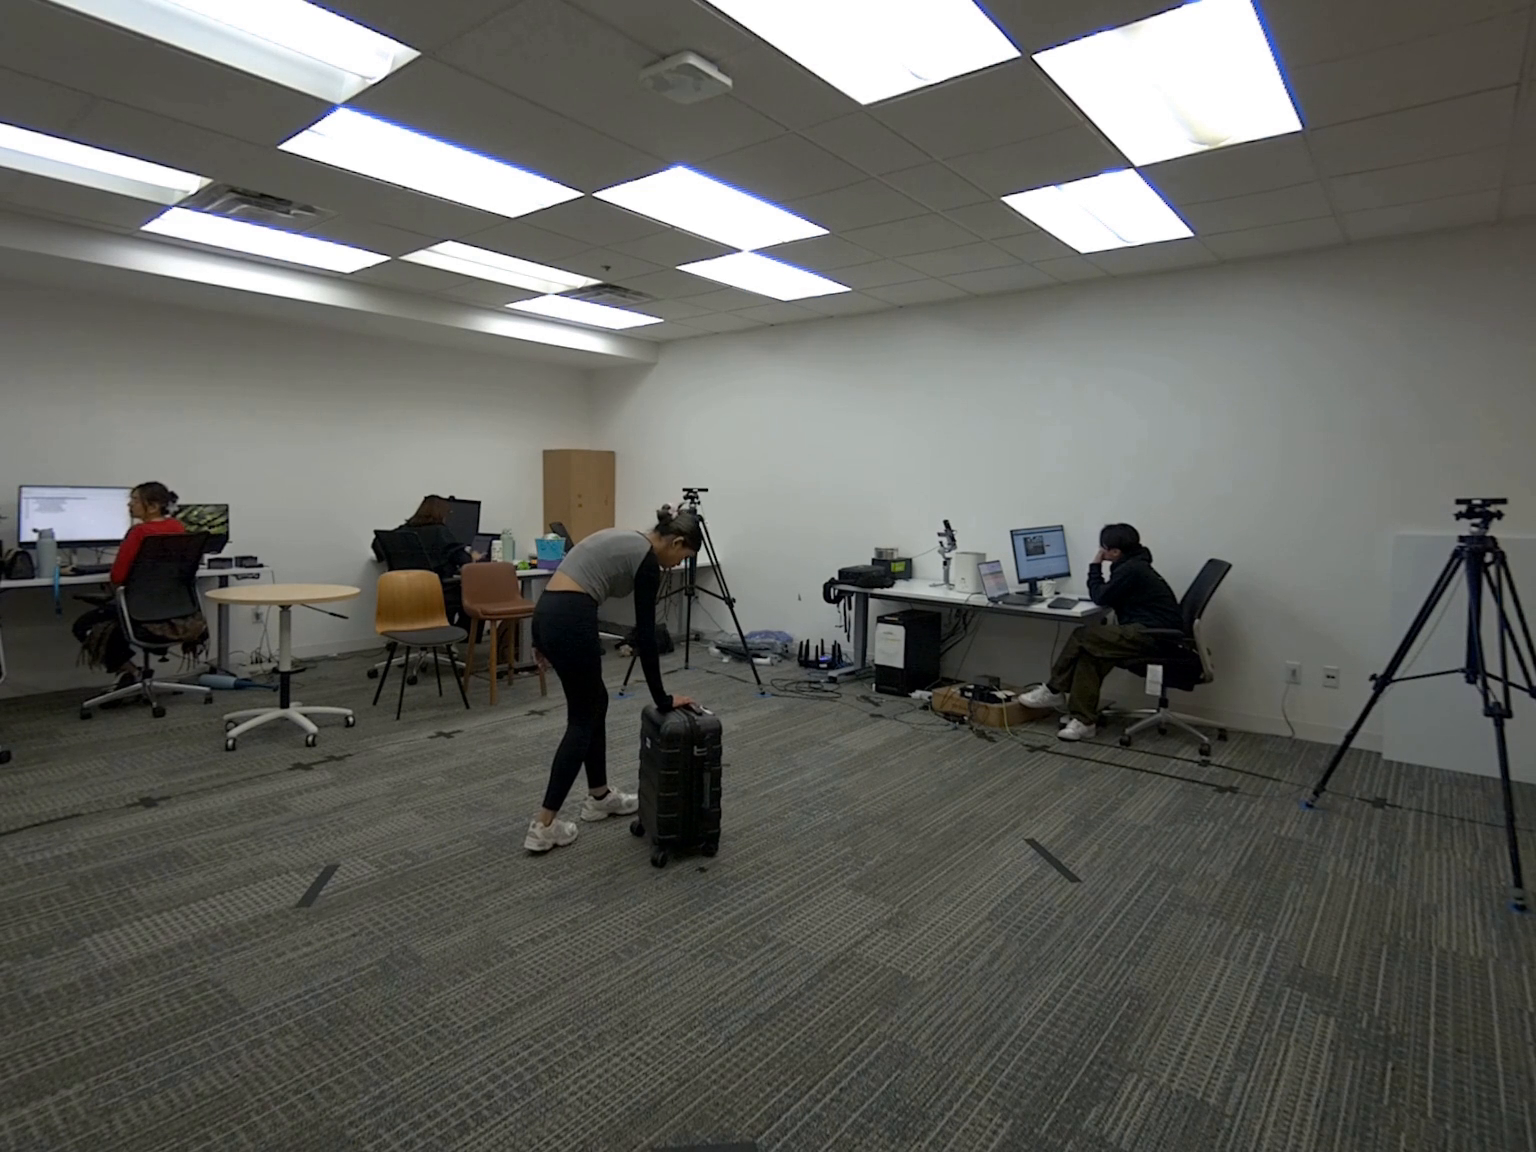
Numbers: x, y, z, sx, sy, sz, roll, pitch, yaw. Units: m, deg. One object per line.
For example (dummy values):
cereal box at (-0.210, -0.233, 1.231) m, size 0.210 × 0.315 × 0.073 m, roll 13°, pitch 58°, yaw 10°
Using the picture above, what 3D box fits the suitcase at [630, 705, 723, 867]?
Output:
suitcase at (-0.357, 0.773, 3.306) m, size 0.242 × 0.548 × 0.385 m, roll 1°, pitch 2°, yaw -24°
